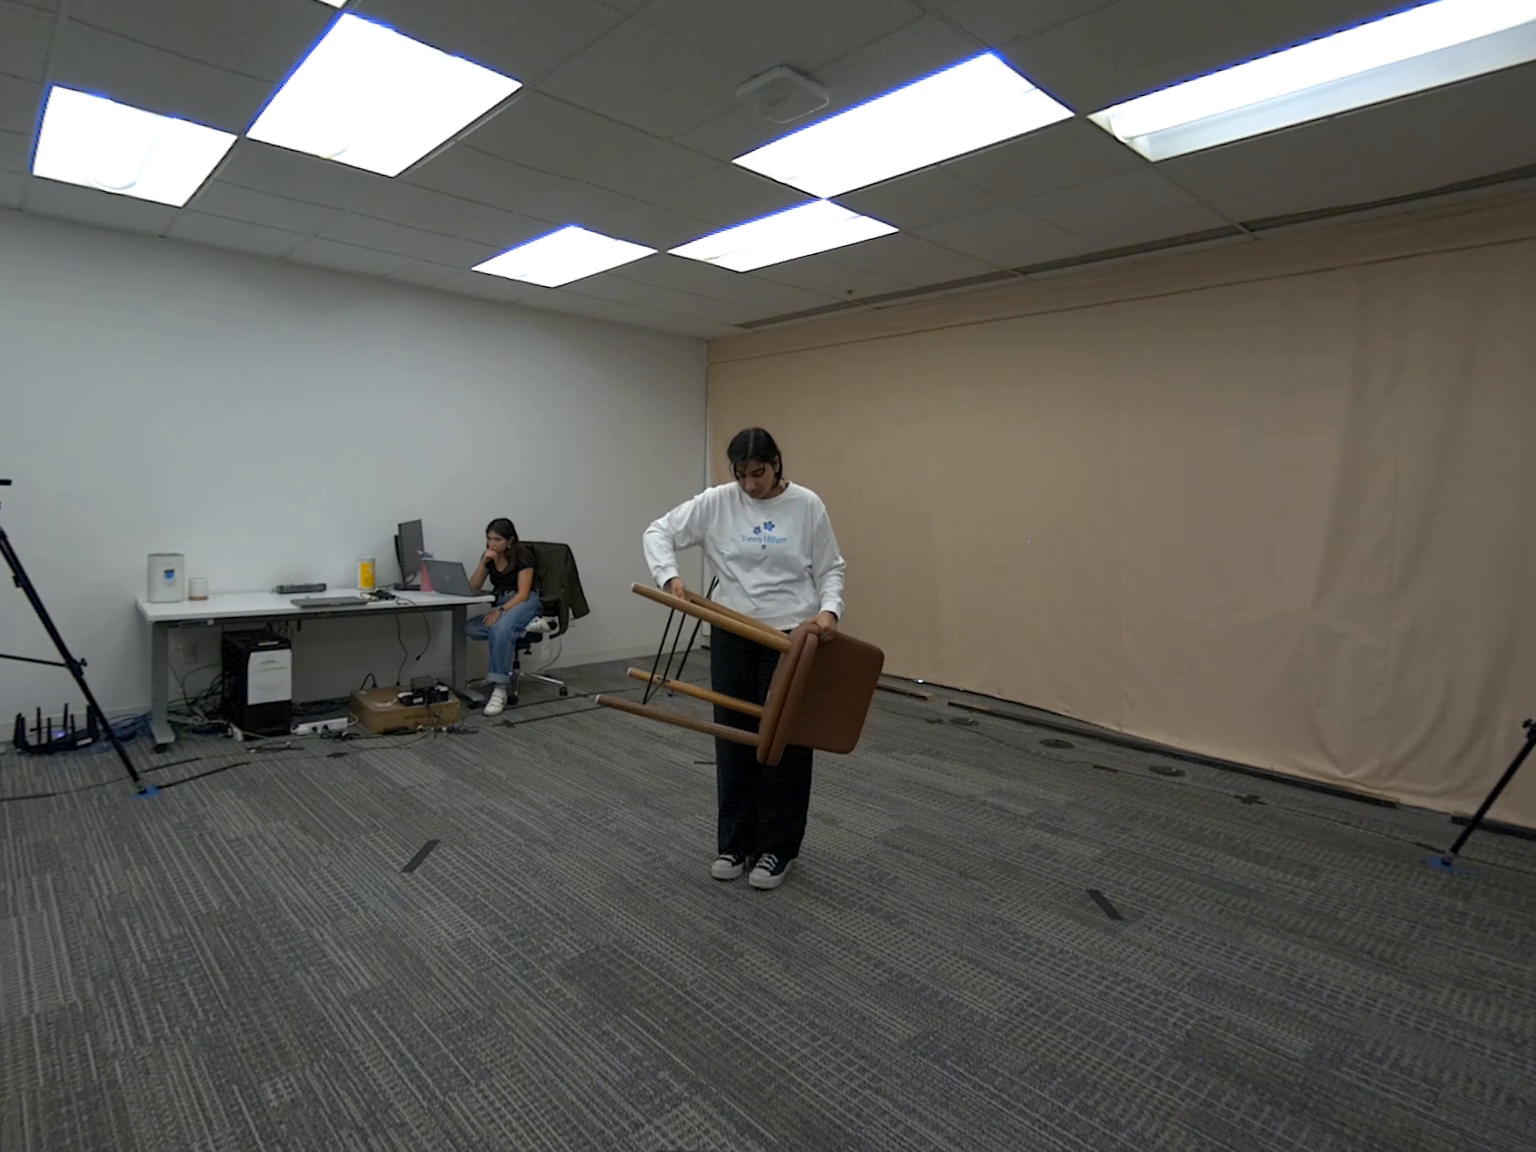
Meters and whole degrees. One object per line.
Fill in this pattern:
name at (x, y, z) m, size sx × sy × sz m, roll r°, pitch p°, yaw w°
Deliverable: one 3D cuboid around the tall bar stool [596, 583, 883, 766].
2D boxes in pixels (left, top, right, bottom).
tall bar stool at (-0.064, 0.347, 2.852) m, size 0.893 × 0.456 × 0.467 m, roll 19°, pitch 4°, yaw 3°
